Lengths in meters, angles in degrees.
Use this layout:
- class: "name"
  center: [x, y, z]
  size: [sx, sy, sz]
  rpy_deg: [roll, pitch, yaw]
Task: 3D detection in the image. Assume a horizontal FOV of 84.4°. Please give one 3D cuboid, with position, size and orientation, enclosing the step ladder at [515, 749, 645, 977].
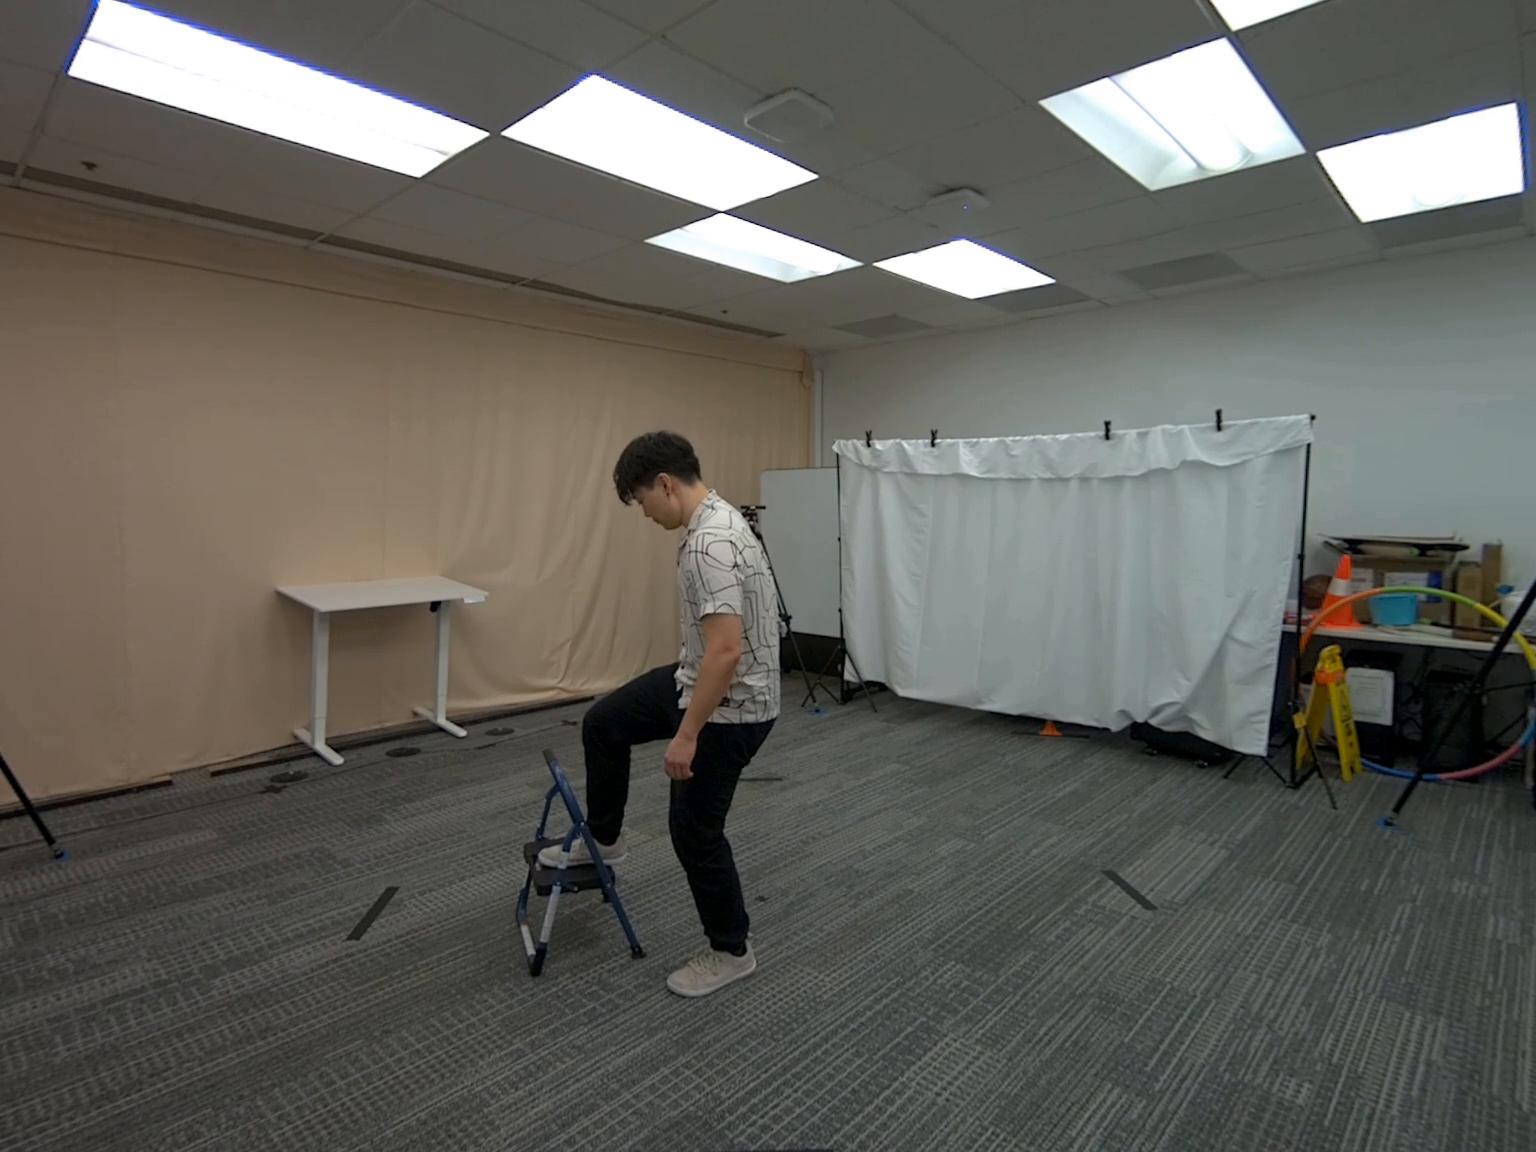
- class: "step ladder"
  center: [-0.628, 0.867, 2.730]
  size: [0.342, 0.605, 0.441]
  rpy_deg: [-3, 4, -23]
